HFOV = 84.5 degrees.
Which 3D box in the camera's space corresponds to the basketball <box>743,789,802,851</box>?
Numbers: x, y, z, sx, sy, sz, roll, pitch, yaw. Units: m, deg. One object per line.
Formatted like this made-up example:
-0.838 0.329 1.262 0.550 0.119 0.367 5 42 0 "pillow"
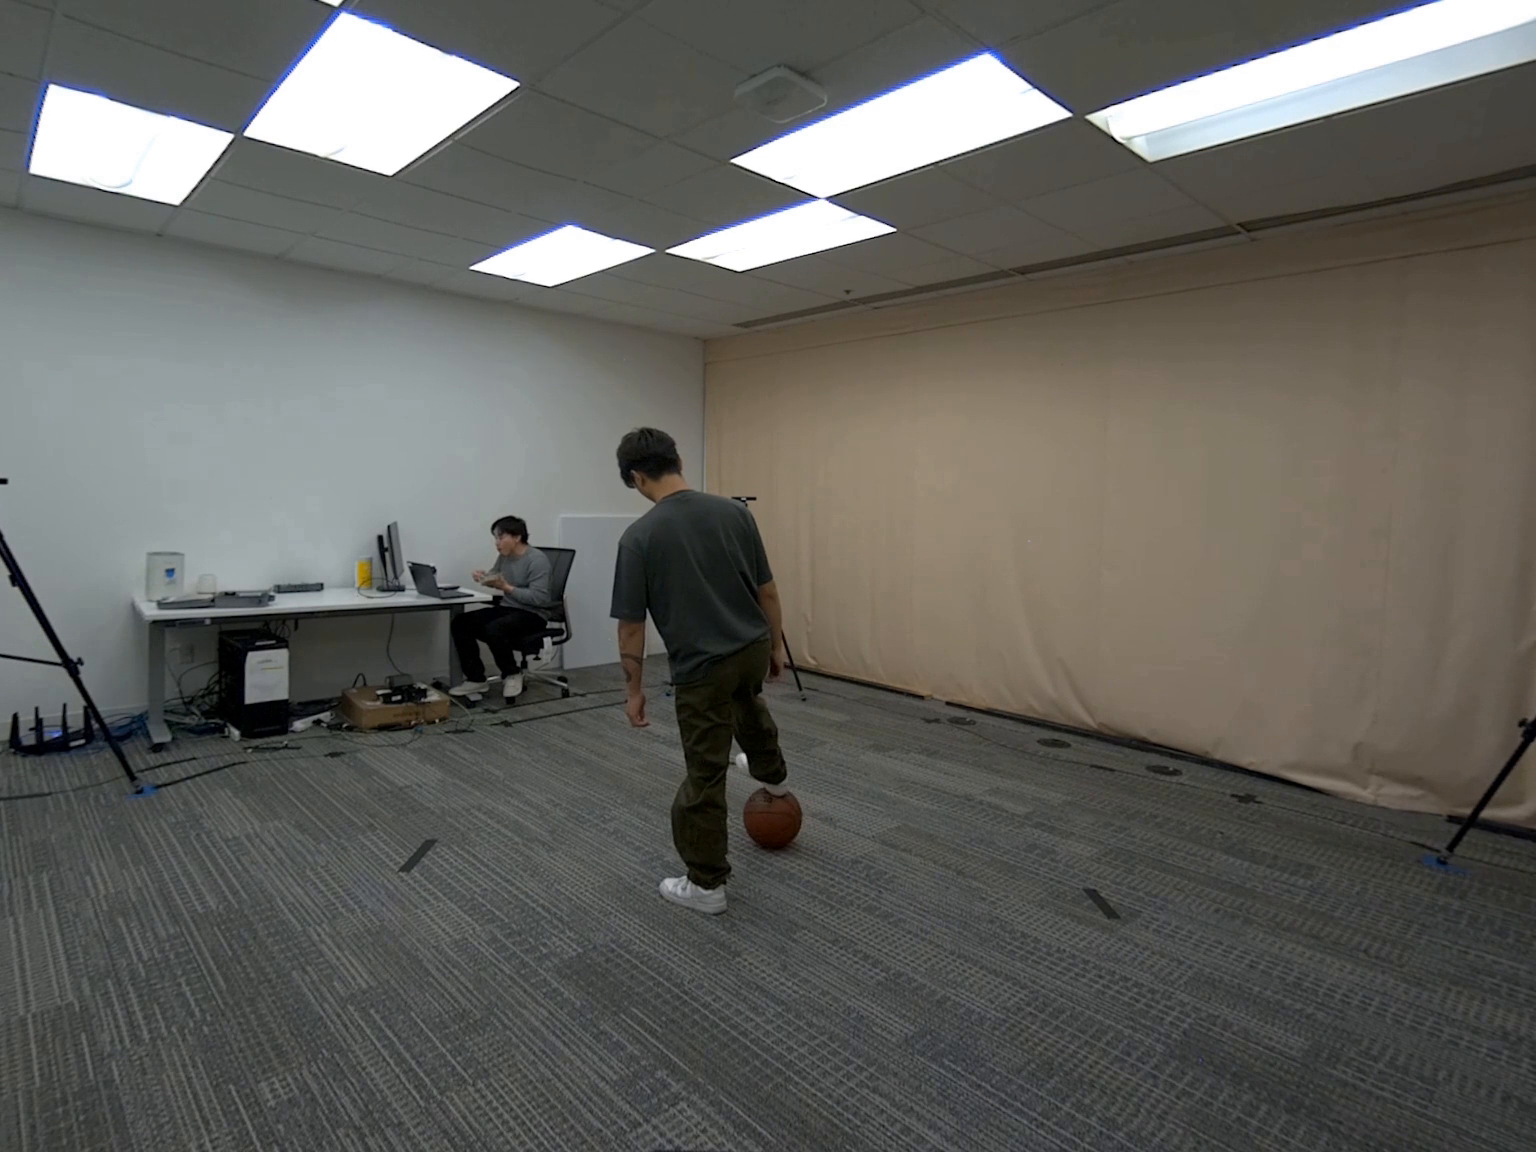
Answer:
0.011 0.969 3.383 0.236 0.235 0.237 1 4 -1 "basketball"
